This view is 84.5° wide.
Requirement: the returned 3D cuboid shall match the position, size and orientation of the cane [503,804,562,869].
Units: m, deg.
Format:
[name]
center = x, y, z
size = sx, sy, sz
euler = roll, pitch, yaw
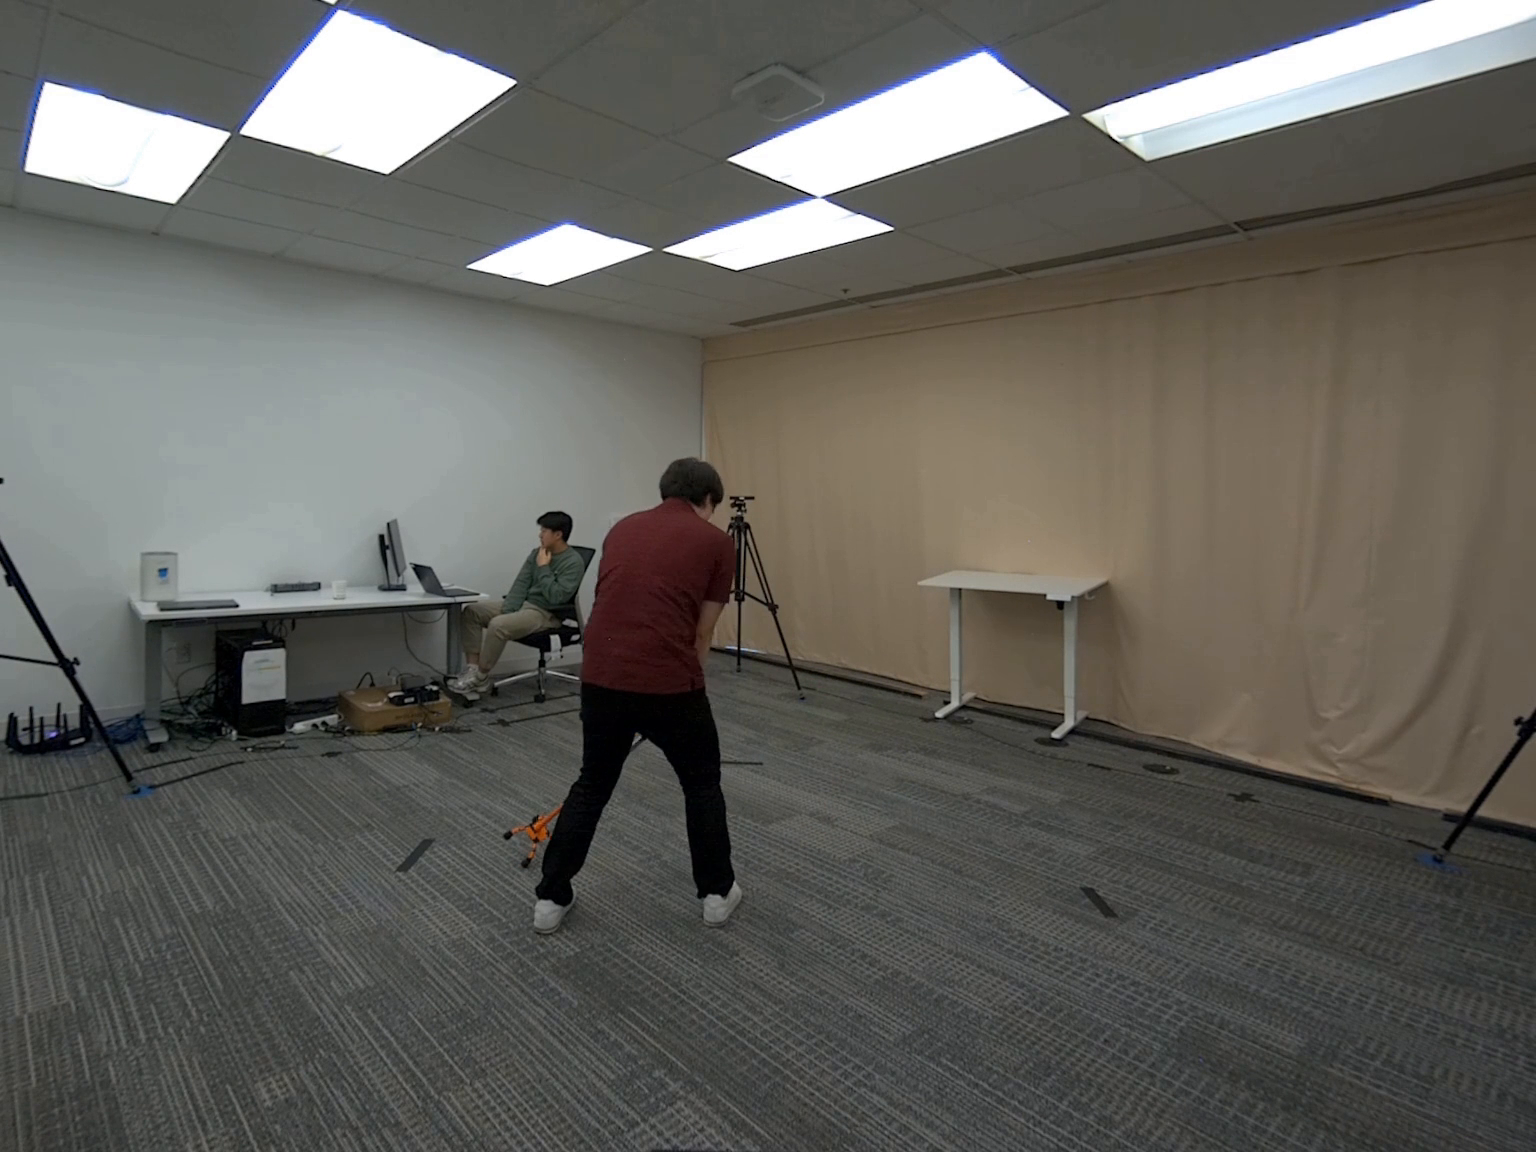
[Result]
[cane]
center = -0.611, 0.740, 3.079
size = 0.909, 0.154, 0.203
euler = -42, -13, 19
